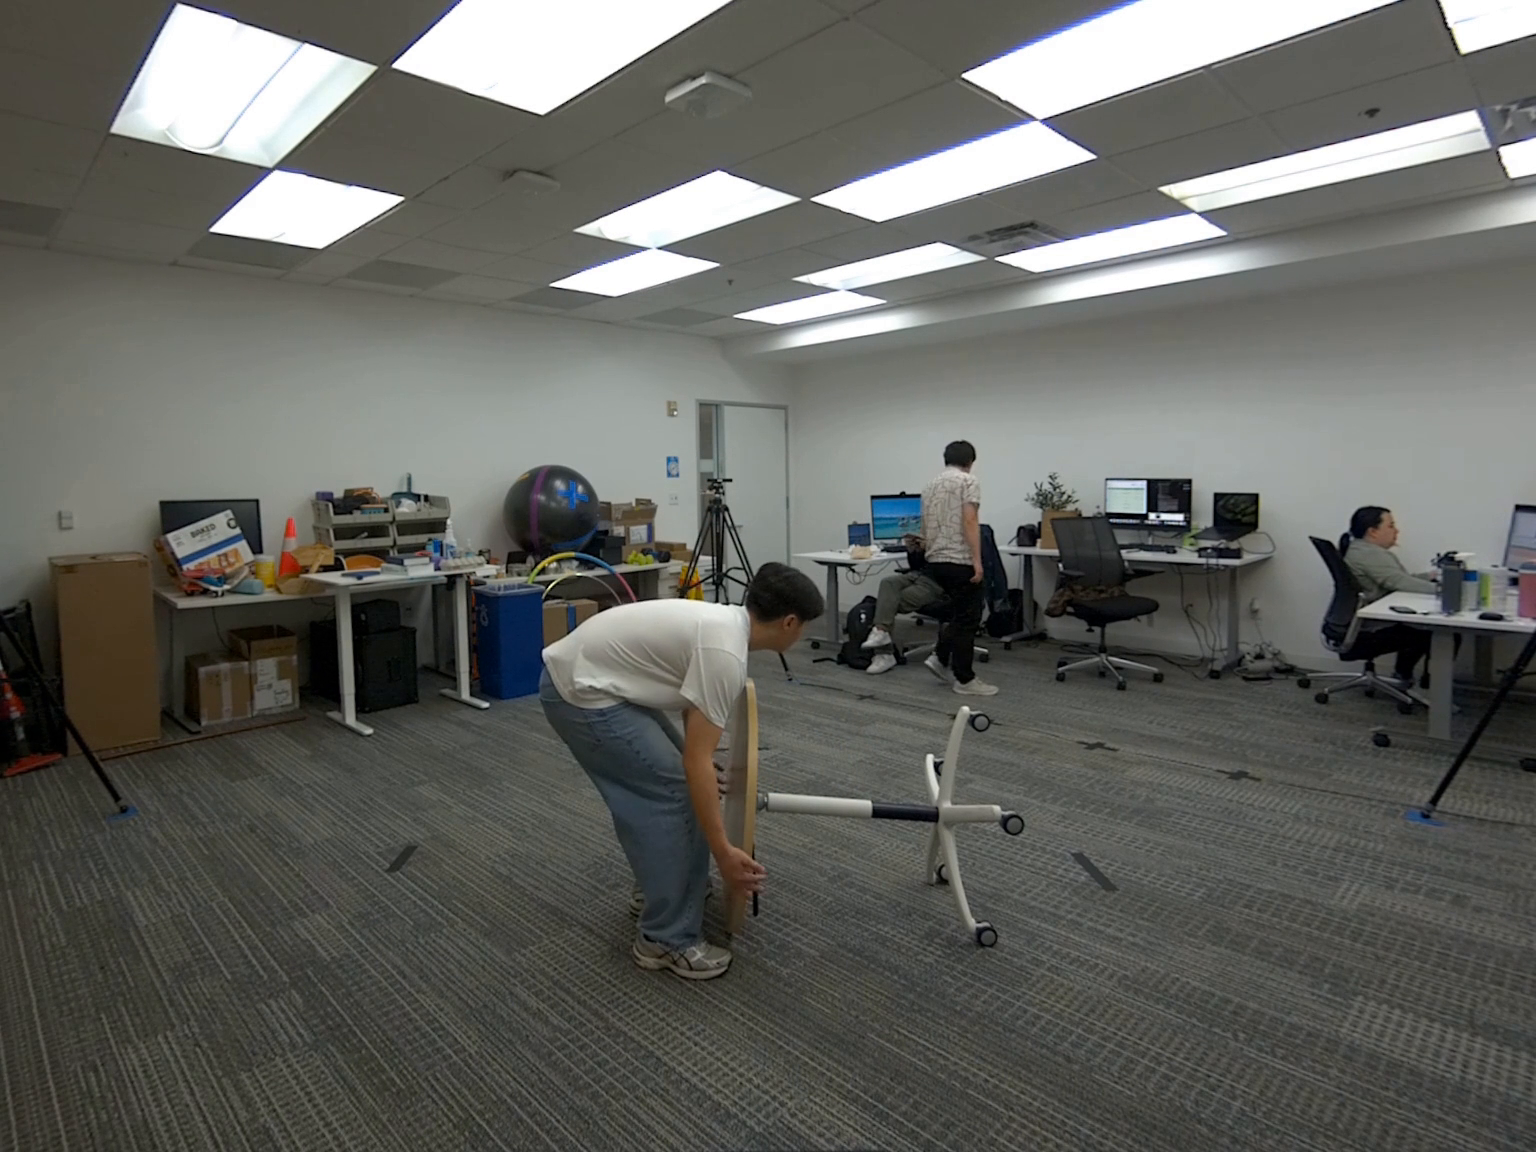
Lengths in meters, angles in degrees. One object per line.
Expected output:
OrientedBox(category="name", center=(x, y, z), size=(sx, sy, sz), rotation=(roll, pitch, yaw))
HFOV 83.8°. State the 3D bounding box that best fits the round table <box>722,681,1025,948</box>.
OrientedBox(category="round table", center=(0.287, 0.733, 2.733), size=(0.783, 0.783, 0.792), rotation=(5, 4, -5))
